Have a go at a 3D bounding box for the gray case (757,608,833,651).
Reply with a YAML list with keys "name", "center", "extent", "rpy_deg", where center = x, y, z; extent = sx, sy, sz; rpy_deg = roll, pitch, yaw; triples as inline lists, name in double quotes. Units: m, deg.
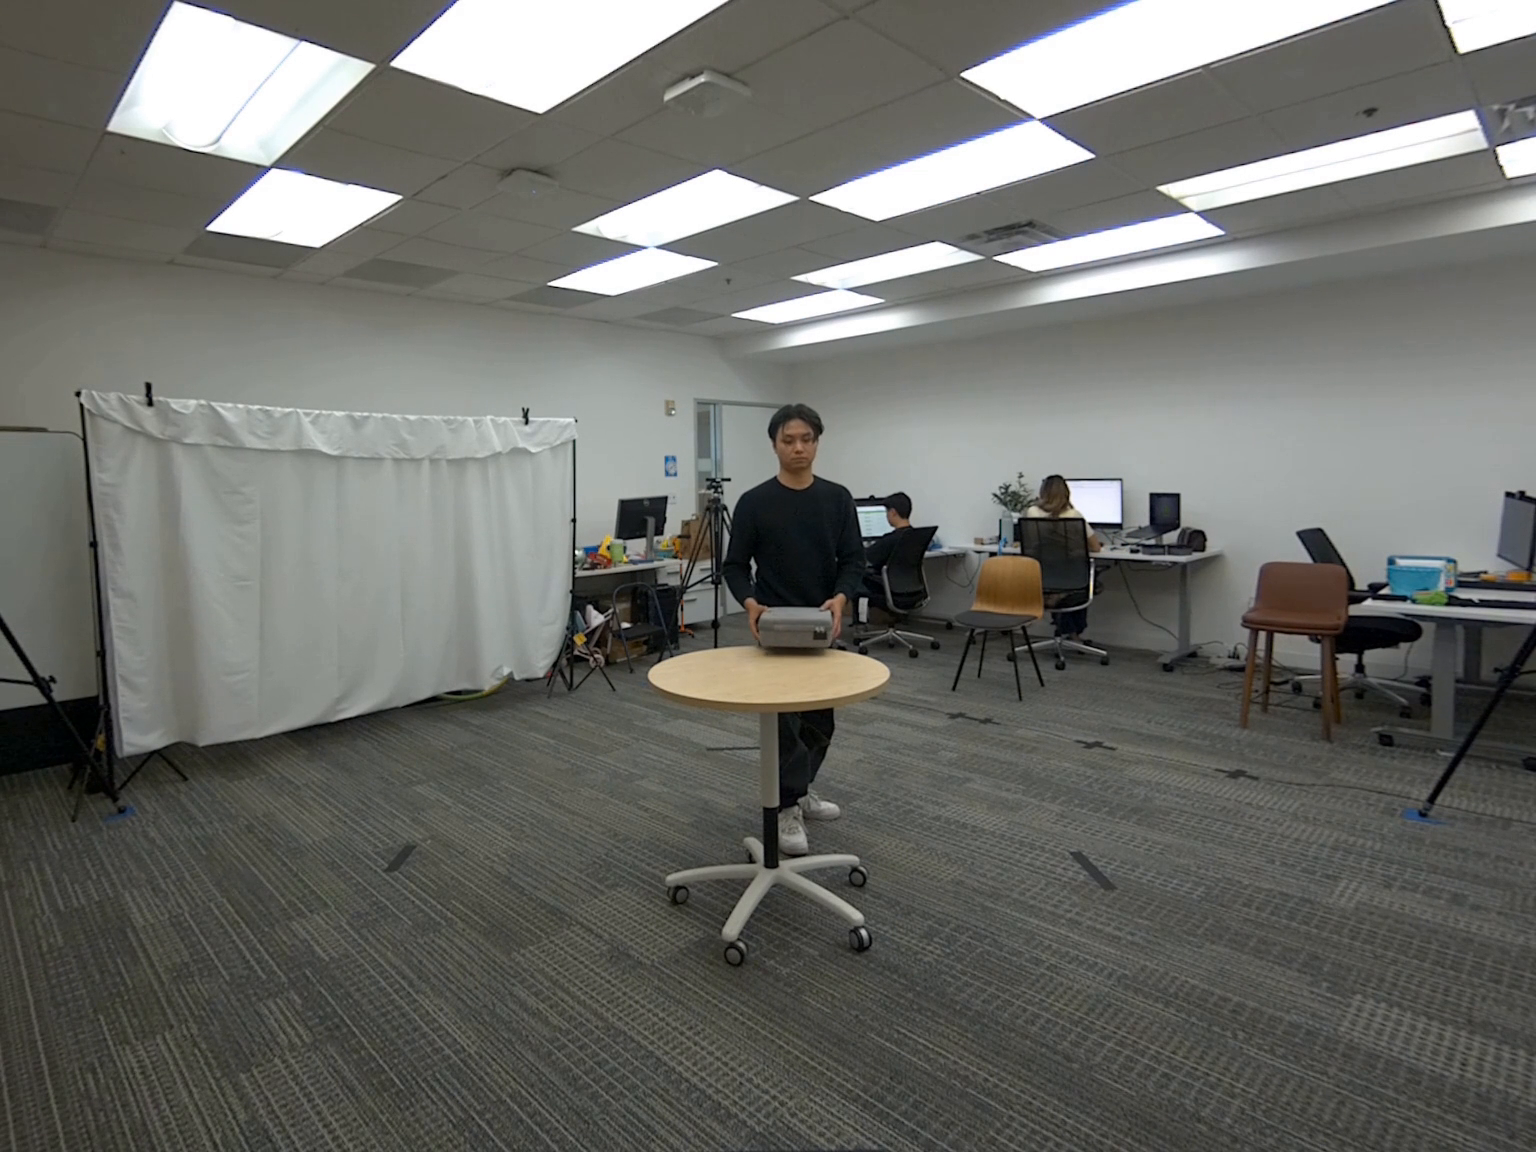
- name: "gray case"
  center: [0.093, 0.177, 3.020]
  extent: [0.259, 0.104, 0.260]
  rpy_deg: [0, 6, 7]
